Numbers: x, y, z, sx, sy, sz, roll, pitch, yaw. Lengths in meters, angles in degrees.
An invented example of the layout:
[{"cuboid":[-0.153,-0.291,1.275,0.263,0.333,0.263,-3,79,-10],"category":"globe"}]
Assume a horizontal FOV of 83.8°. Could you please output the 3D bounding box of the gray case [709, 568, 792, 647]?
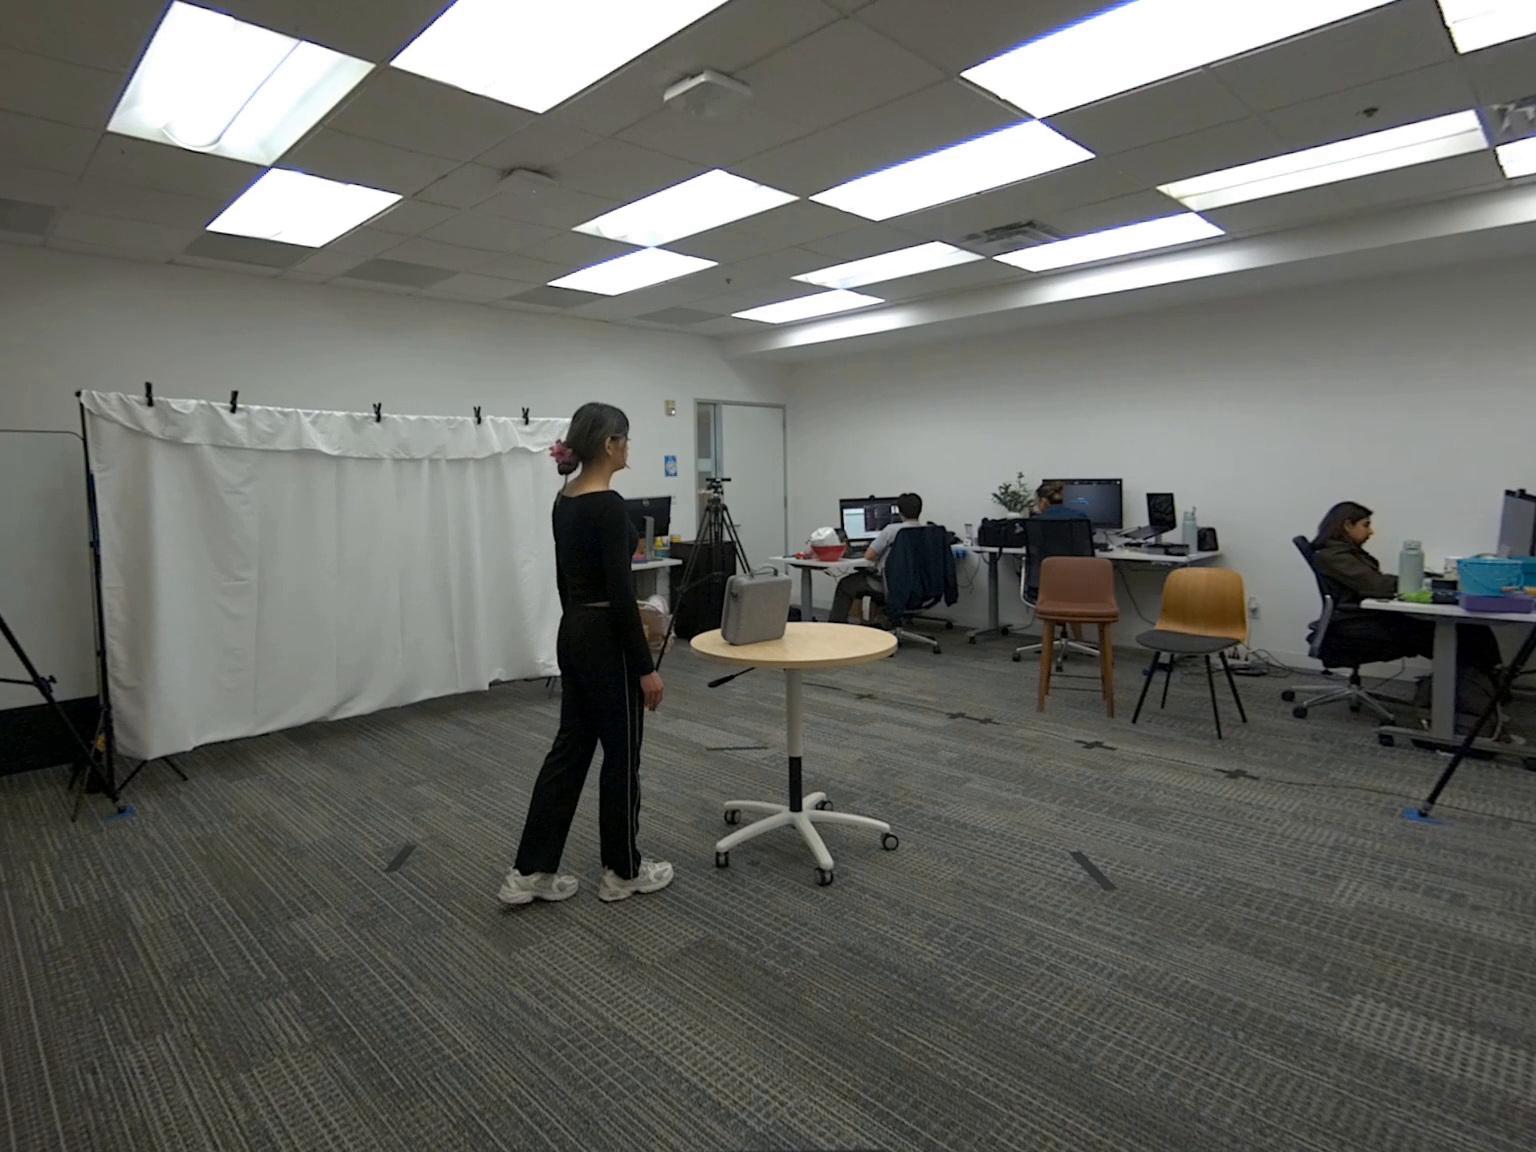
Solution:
[{"cuboid":[-0.038,0.112,3.156,0.250,0.258,0.108,-5,18,-37],"category":"gray case"}]
